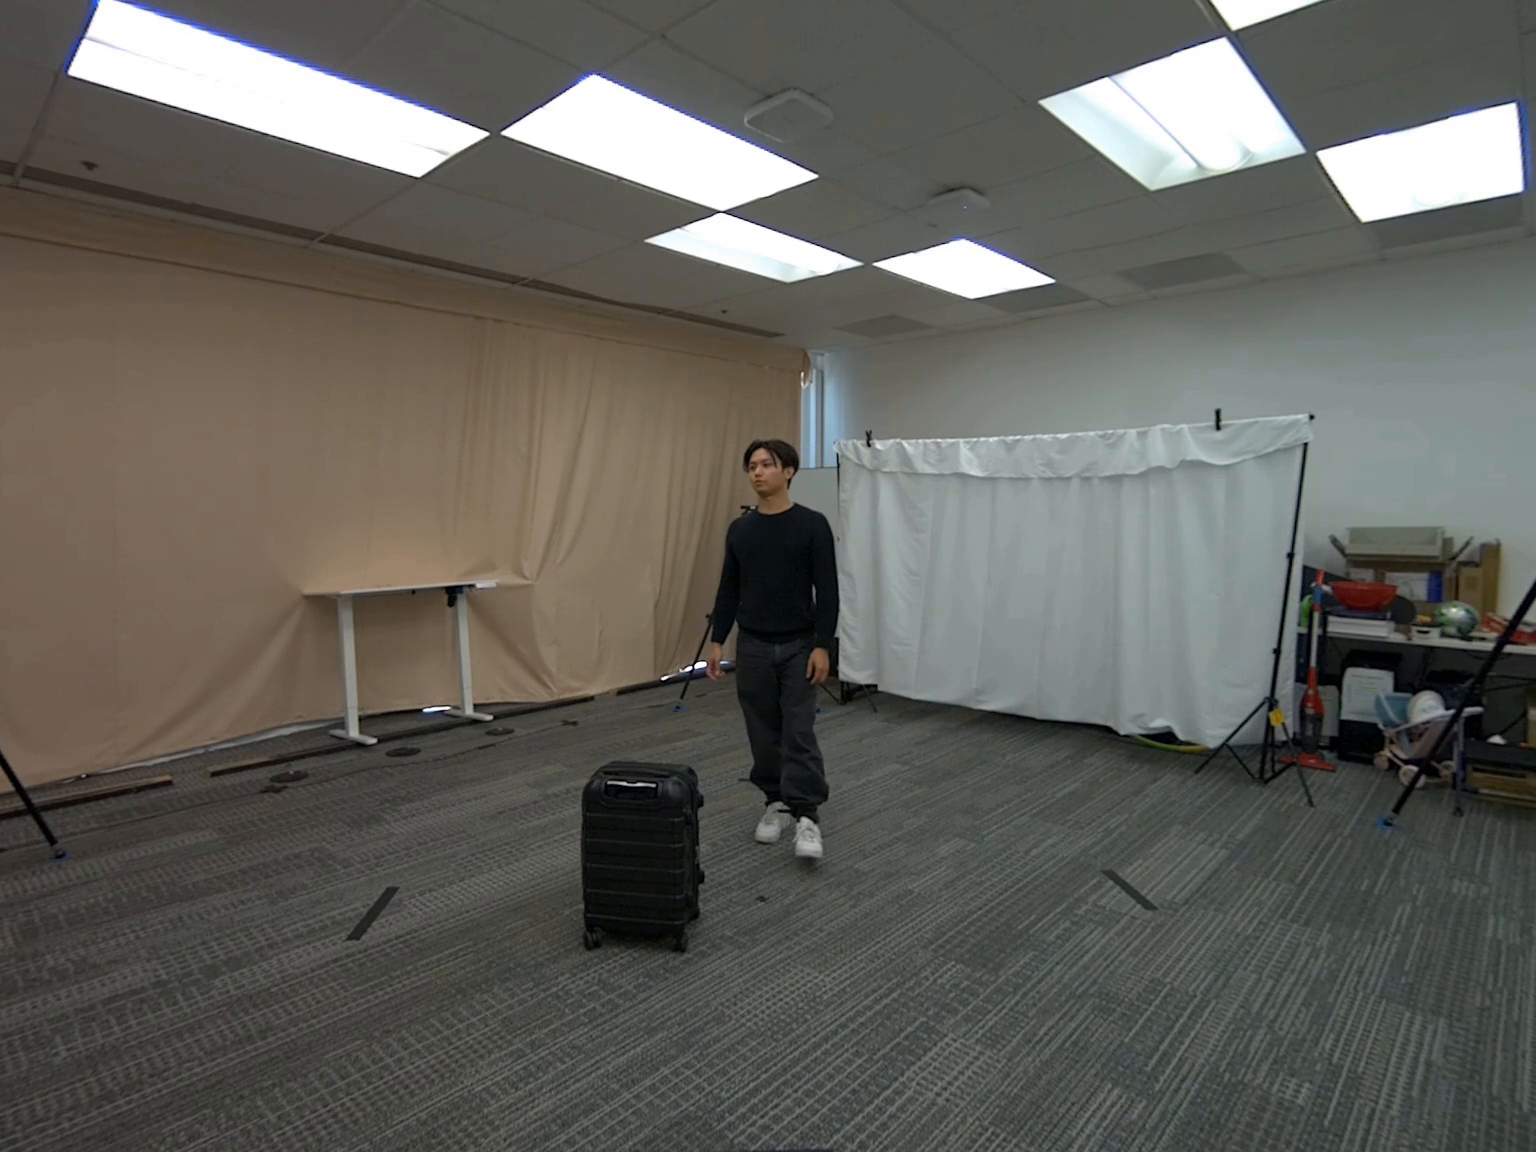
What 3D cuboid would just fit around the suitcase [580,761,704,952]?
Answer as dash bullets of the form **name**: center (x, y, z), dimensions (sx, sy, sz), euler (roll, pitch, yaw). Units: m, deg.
- **suitcase**: center (-0.410, 0.889, 2.743), dimensions (0.380, 0.549, 0.246), euler (-1, 2, 10)
